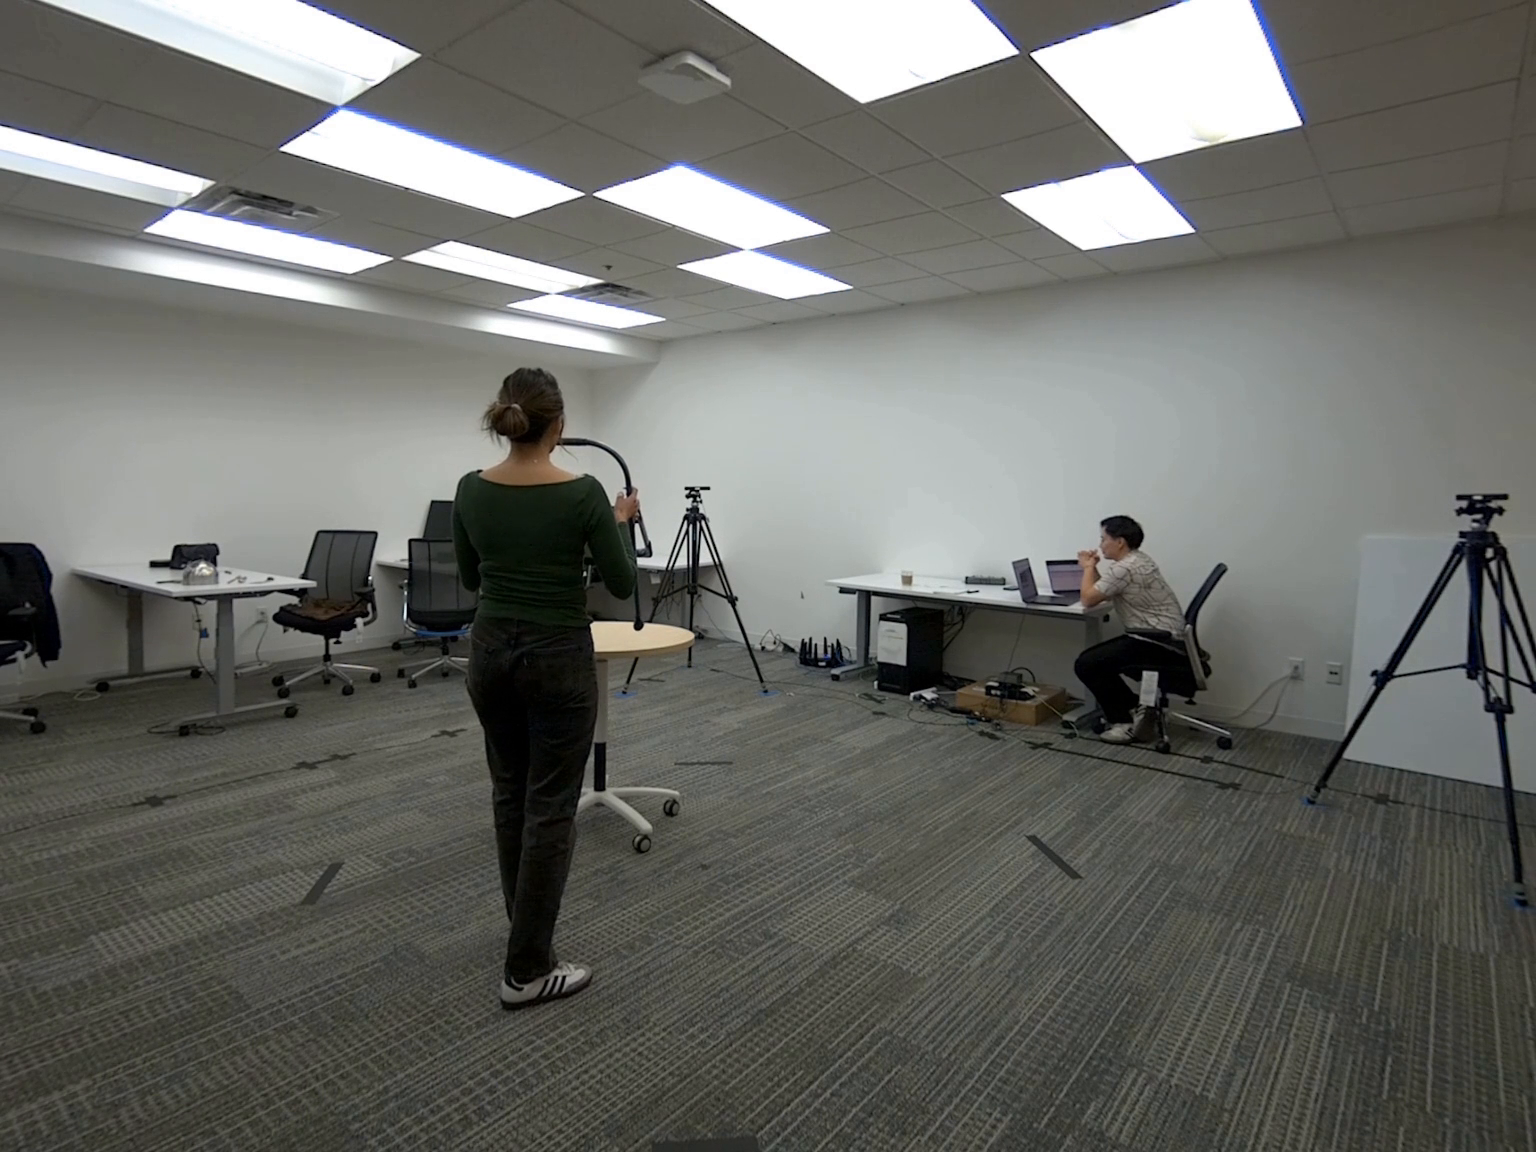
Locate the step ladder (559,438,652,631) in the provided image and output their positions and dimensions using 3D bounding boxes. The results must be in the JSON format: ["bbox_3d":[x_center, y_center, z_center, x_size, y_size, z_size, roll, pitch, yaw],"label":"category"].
[{"bbox_3d":[-0.635,-0.159,2.758,0.432,0.588,0.358,2,47,2],"label":"step ladder"}]
